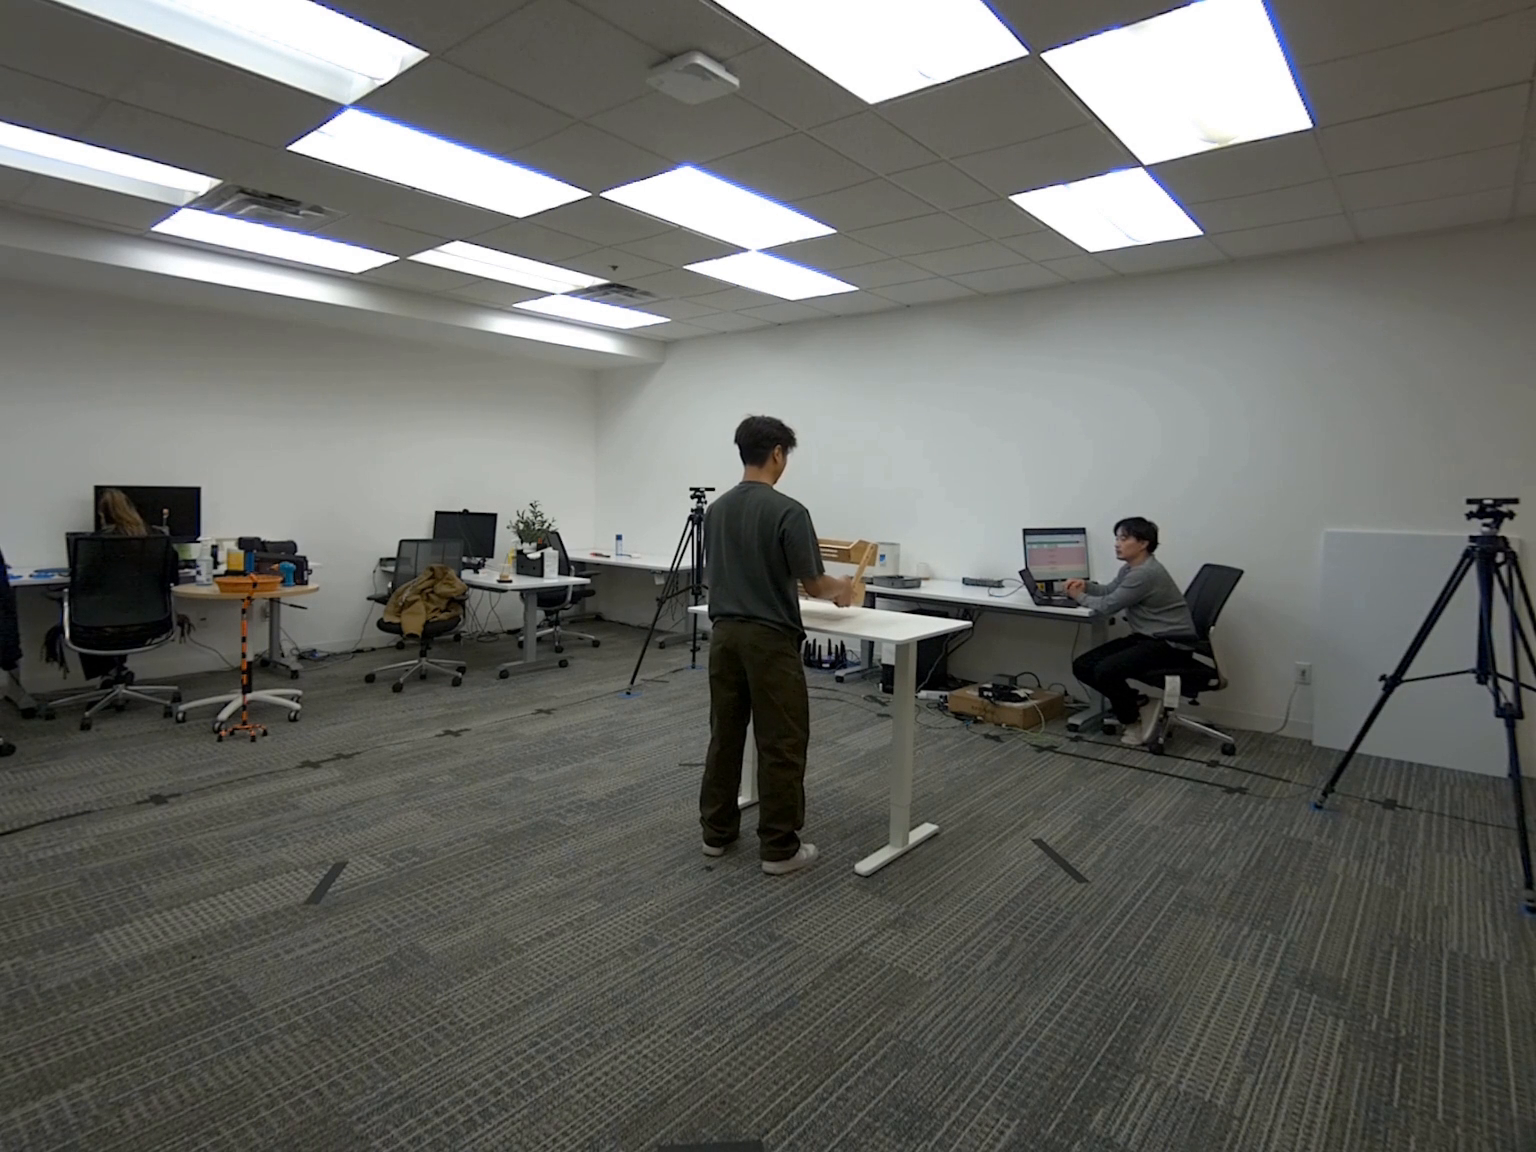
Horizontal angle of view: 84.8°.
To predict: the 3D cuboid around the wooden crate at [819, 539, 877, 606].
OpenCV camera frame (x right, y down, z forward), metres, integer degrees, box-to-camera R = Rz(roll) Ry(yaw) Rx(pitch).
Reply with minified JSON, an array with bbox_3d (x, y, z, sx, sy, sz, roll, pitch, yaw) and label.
[{"bbox_3d":[0.220,-0.039,3.490,0.336,0.274,0.291,7,-2,38],"label":"wooden crate"}]
